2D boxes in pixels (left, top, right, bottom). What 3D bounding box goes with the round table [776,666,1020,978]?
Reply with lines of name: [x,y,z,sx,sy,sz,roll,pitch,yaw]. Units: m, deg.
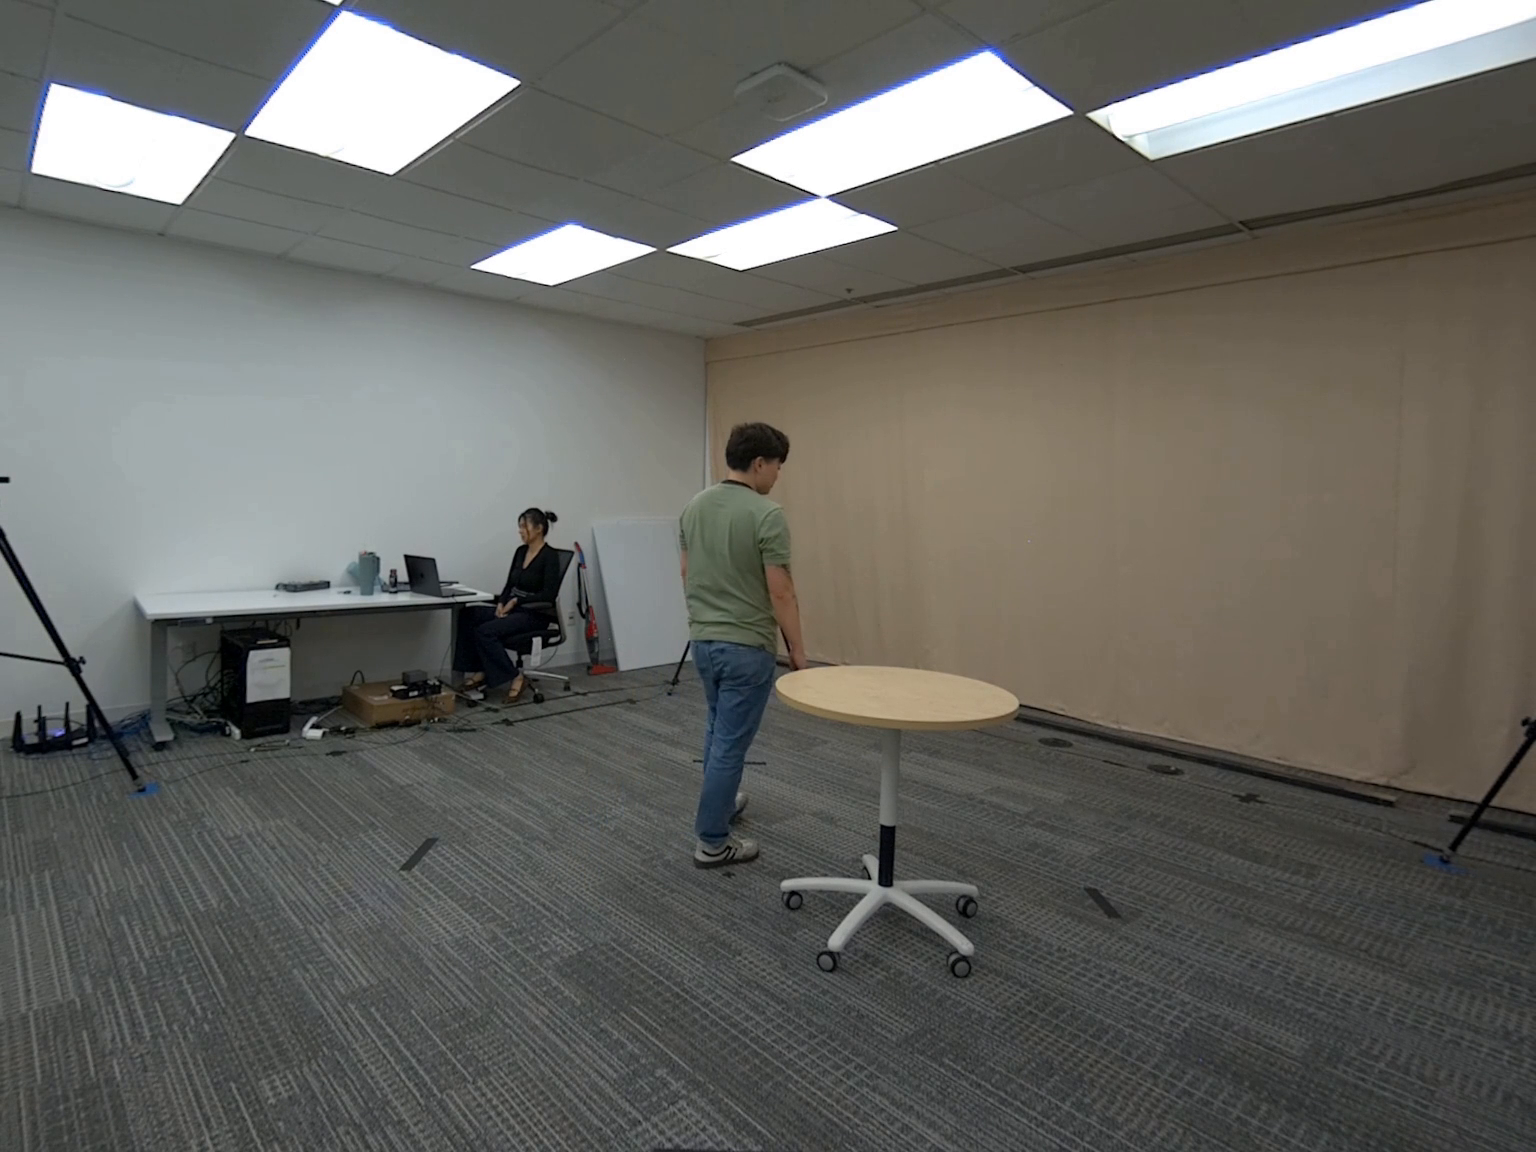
round table: [0.383,0.761,2.735,0.763,0.791,0.767,2,5,-2]
